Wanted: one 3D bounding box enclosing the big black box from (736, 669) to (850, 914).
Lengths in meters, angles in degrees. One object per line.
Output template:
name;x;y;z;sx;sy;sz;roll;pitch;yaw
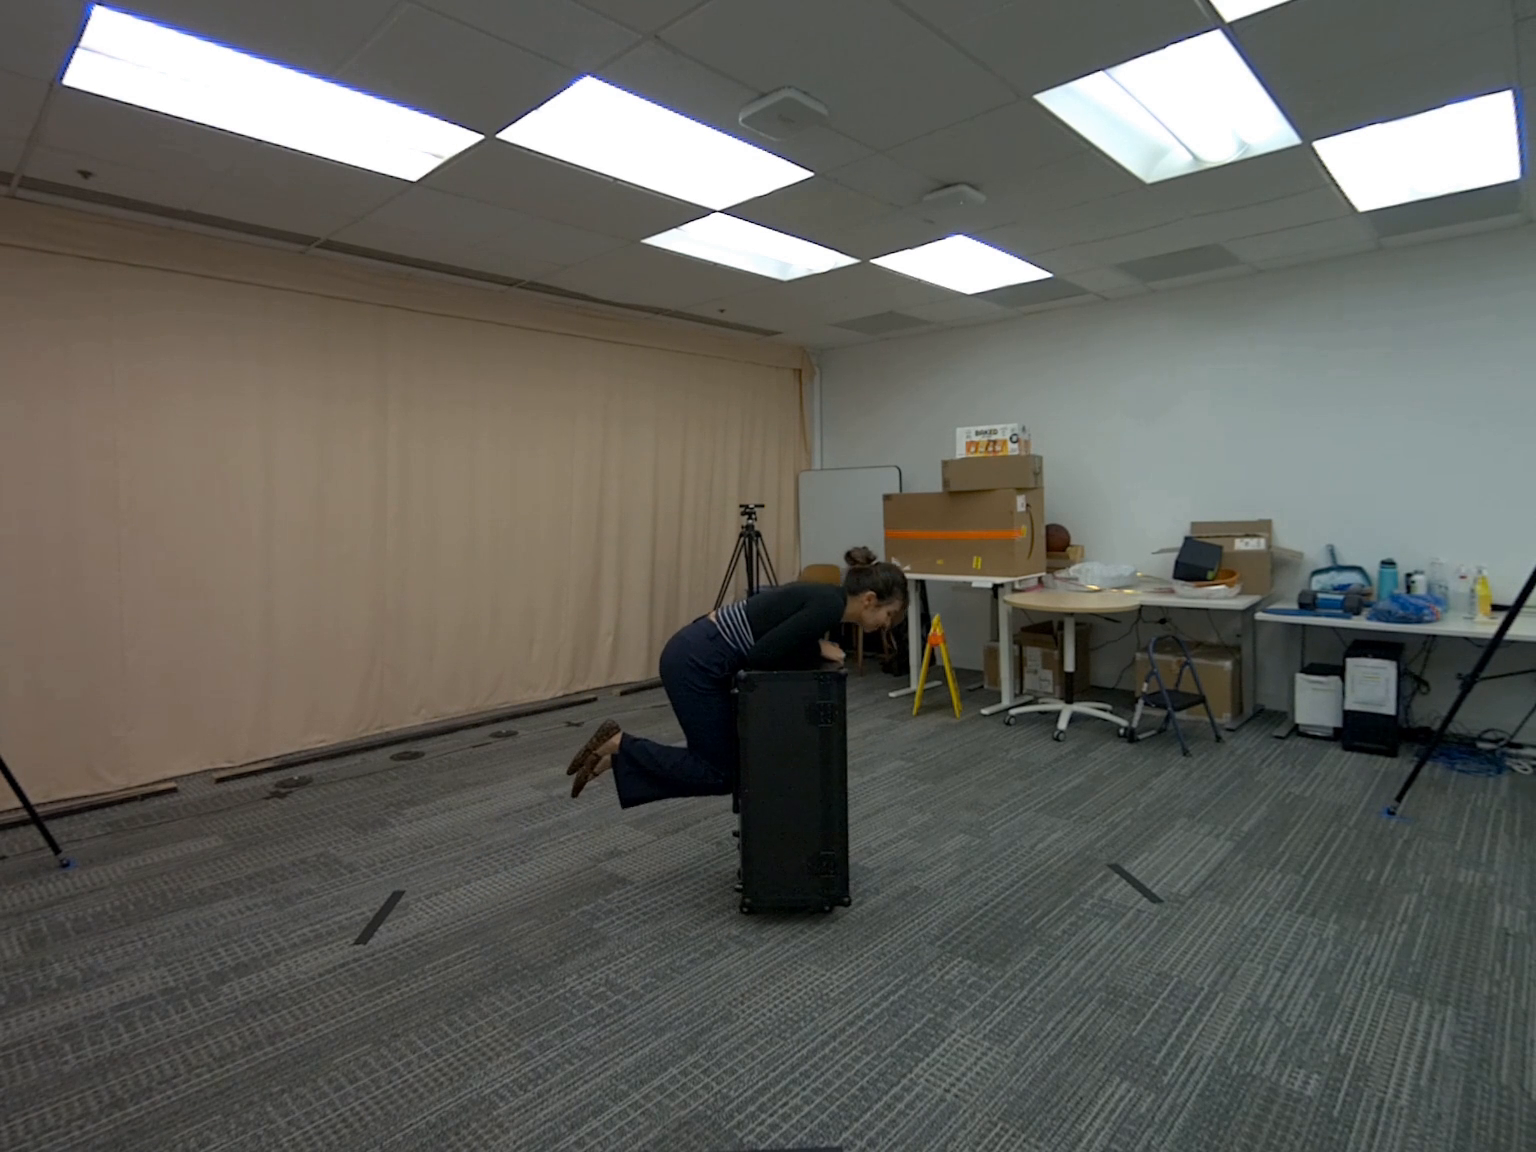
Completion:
big black box;0.057;0.719;2.976;0.396;0.859;0.523;-2;4;-3
